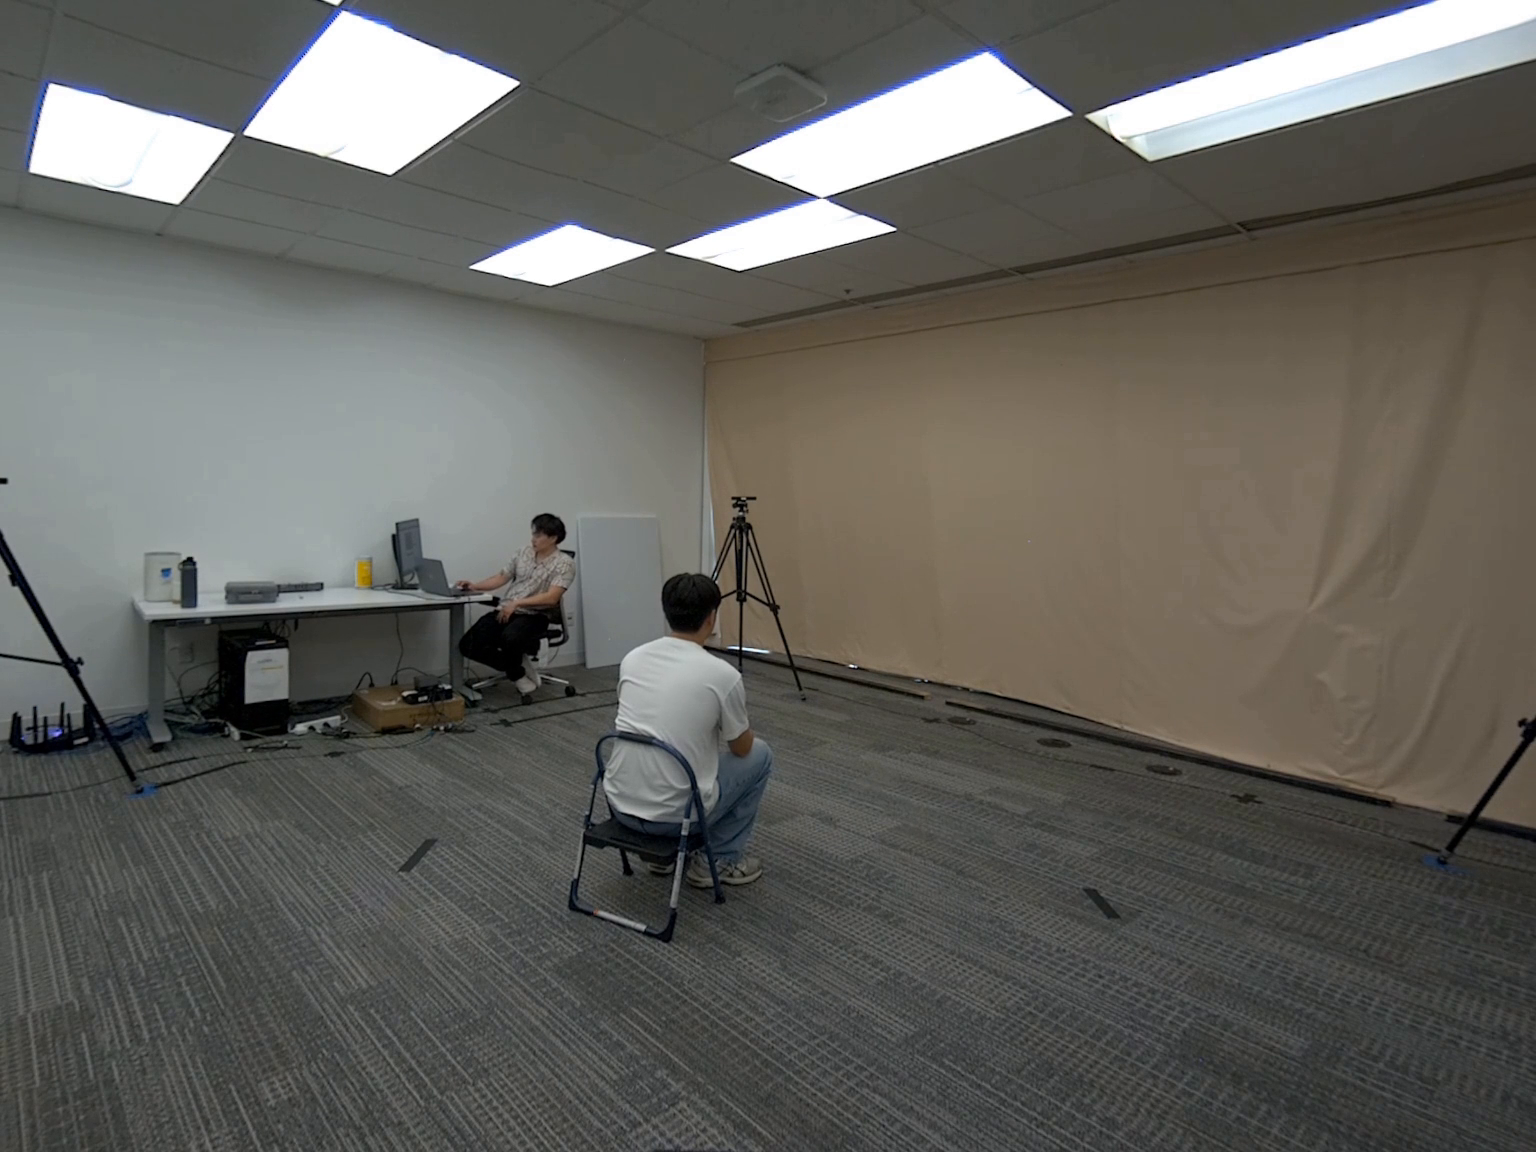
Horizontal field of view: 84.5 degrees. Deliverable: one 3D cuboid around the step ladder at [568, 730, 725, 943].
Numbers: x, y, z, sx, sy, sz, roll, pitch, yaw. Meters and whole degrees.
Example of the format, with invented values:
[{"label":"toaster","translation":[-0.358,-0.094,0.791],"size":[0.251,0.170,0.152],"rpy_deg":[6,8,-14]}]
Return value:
[{"label":"step ladder","translation":[-0.419,0.825,2.848],"size":[0.440,0.604,0.343],"rpy_deg":[3,4,29]}]
